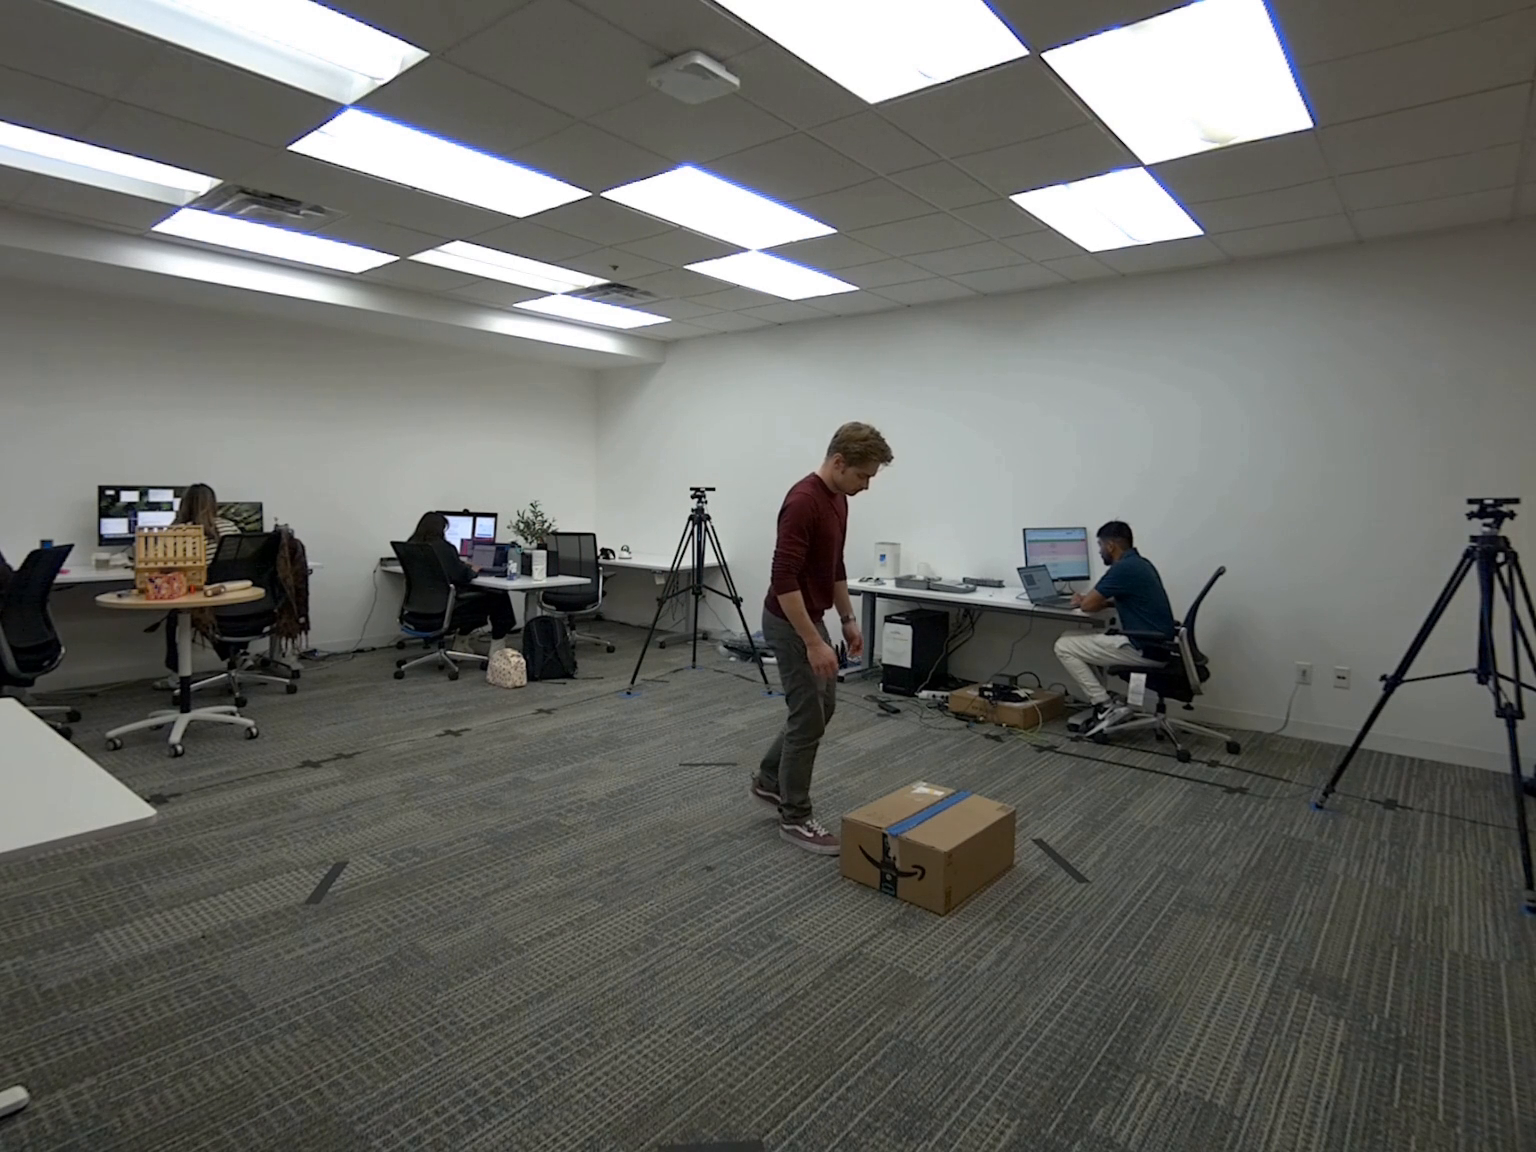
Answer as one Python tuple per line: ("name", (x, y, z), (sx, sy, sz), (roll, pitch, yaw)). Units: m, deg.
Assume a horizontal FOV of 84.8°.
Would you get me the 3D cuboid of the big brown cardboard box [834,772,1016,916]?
("big brown cardboard box", (0.593, 0.967, 3.135), (0.432, 0.232, 0.572), (6, 8, 40))
